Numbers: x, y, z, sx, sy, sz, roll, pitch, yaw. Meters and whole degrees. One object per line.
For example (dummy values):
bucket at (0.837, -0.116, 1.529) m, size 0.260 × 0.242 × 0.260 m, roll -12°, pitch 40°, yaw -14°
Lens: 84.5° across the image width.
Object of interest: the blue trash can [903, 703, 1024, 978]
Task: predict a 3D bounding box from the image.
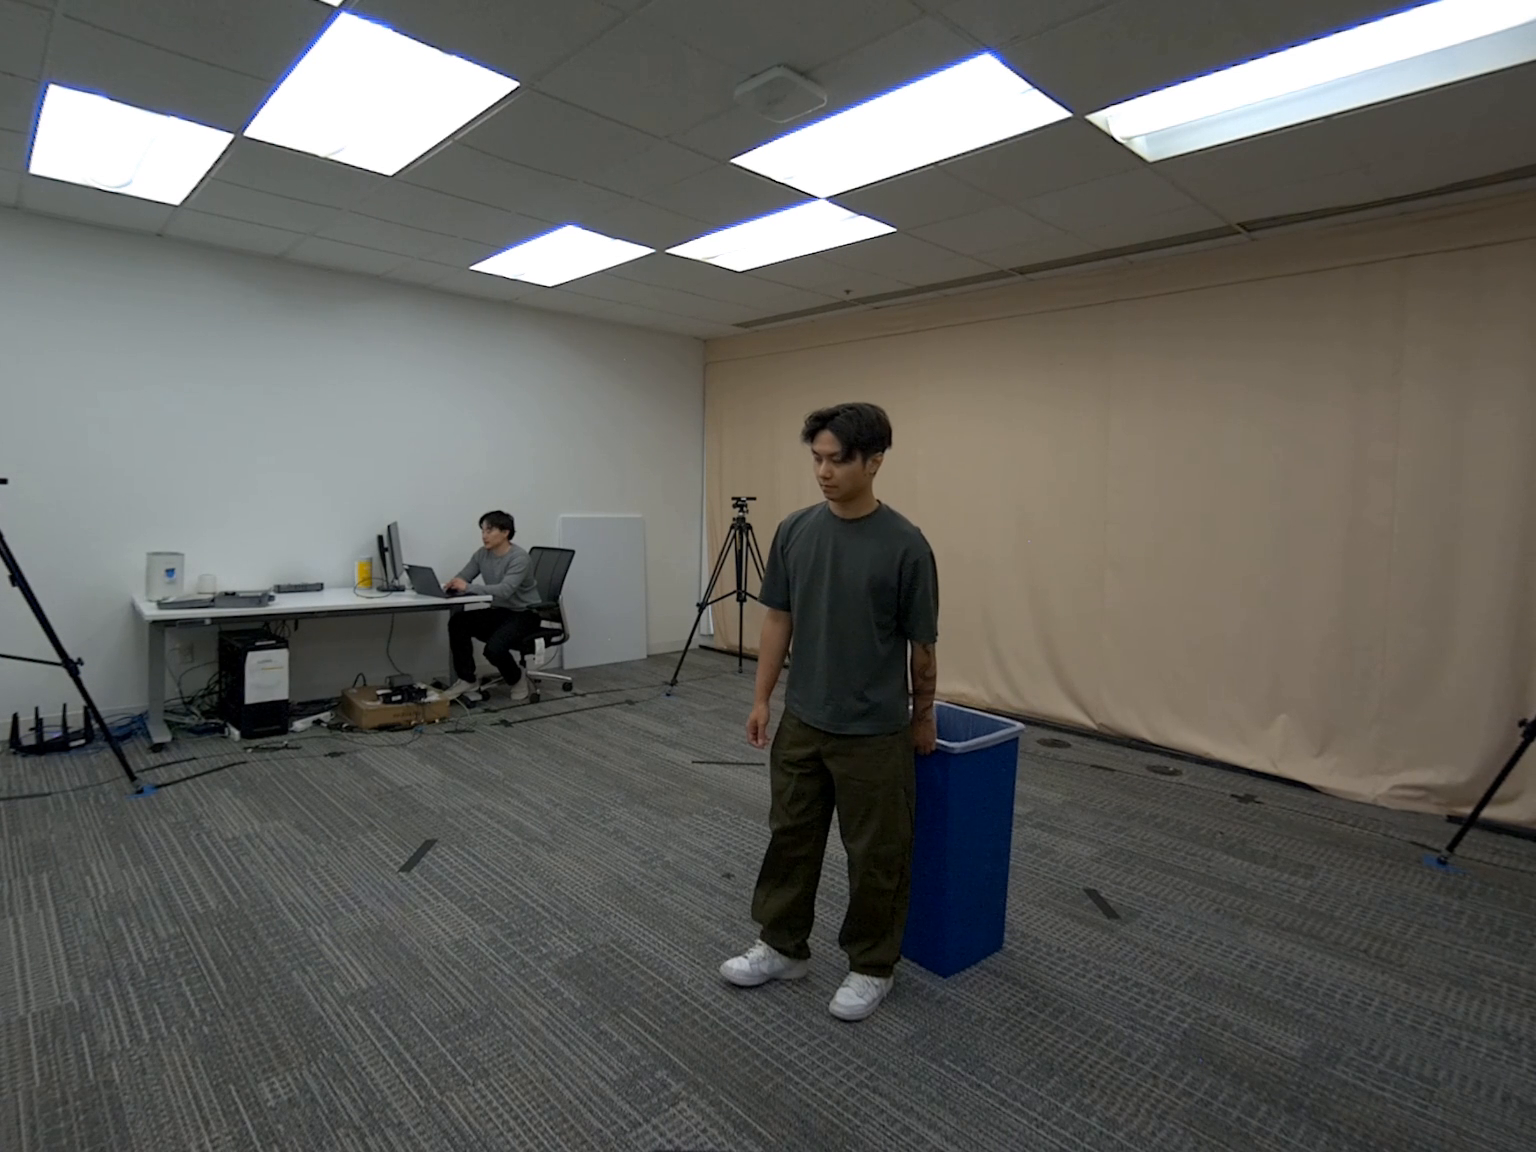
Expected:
blue trash can at (0.544, 0.806, 2.641) m, size 0.370 × 0.711 × 0.383 m, roll -3°, pitch 5°, yaw -40°
